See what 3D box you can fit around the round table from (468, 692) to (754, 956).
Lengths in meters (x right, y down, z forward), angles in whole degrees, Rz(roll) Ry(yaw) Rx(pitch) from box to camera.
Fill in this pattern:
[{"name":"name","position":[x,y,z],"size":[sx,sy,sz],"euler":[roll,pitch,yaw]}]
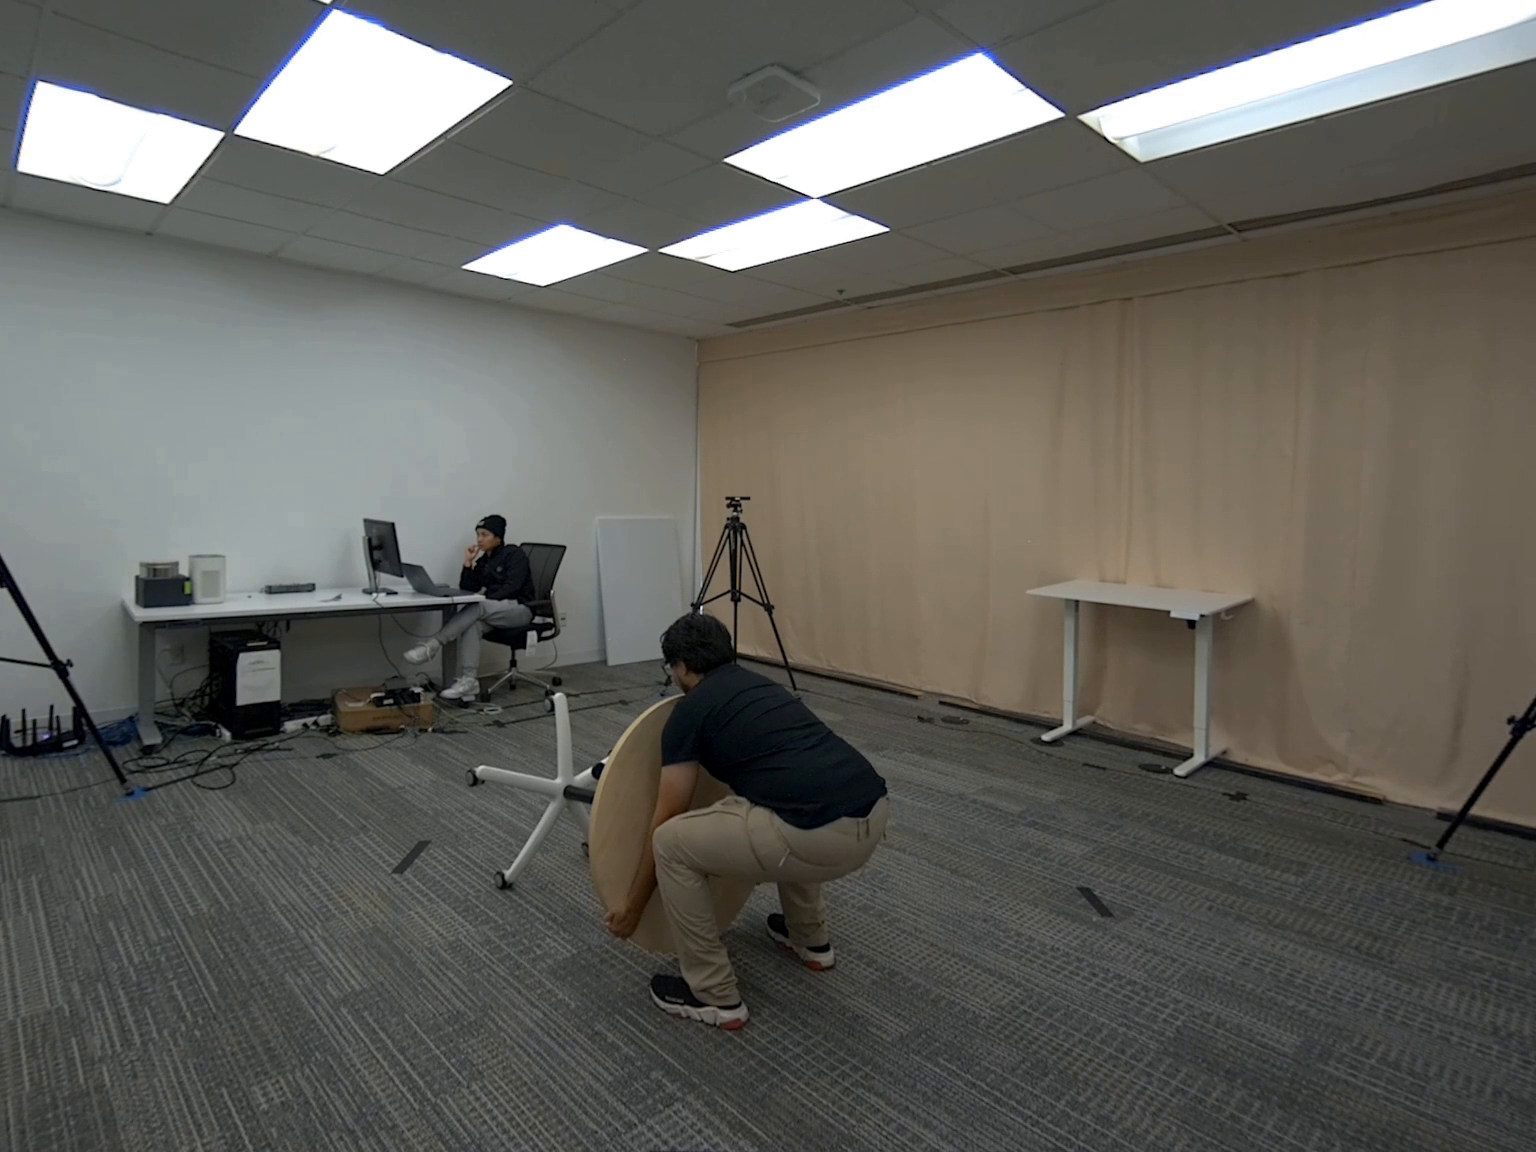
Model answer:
[{"name":"round table","position":[-0.535,0.780,2.890],"size":[0.803,0.786,0.767],"euler":[-6,-2,43]}]
